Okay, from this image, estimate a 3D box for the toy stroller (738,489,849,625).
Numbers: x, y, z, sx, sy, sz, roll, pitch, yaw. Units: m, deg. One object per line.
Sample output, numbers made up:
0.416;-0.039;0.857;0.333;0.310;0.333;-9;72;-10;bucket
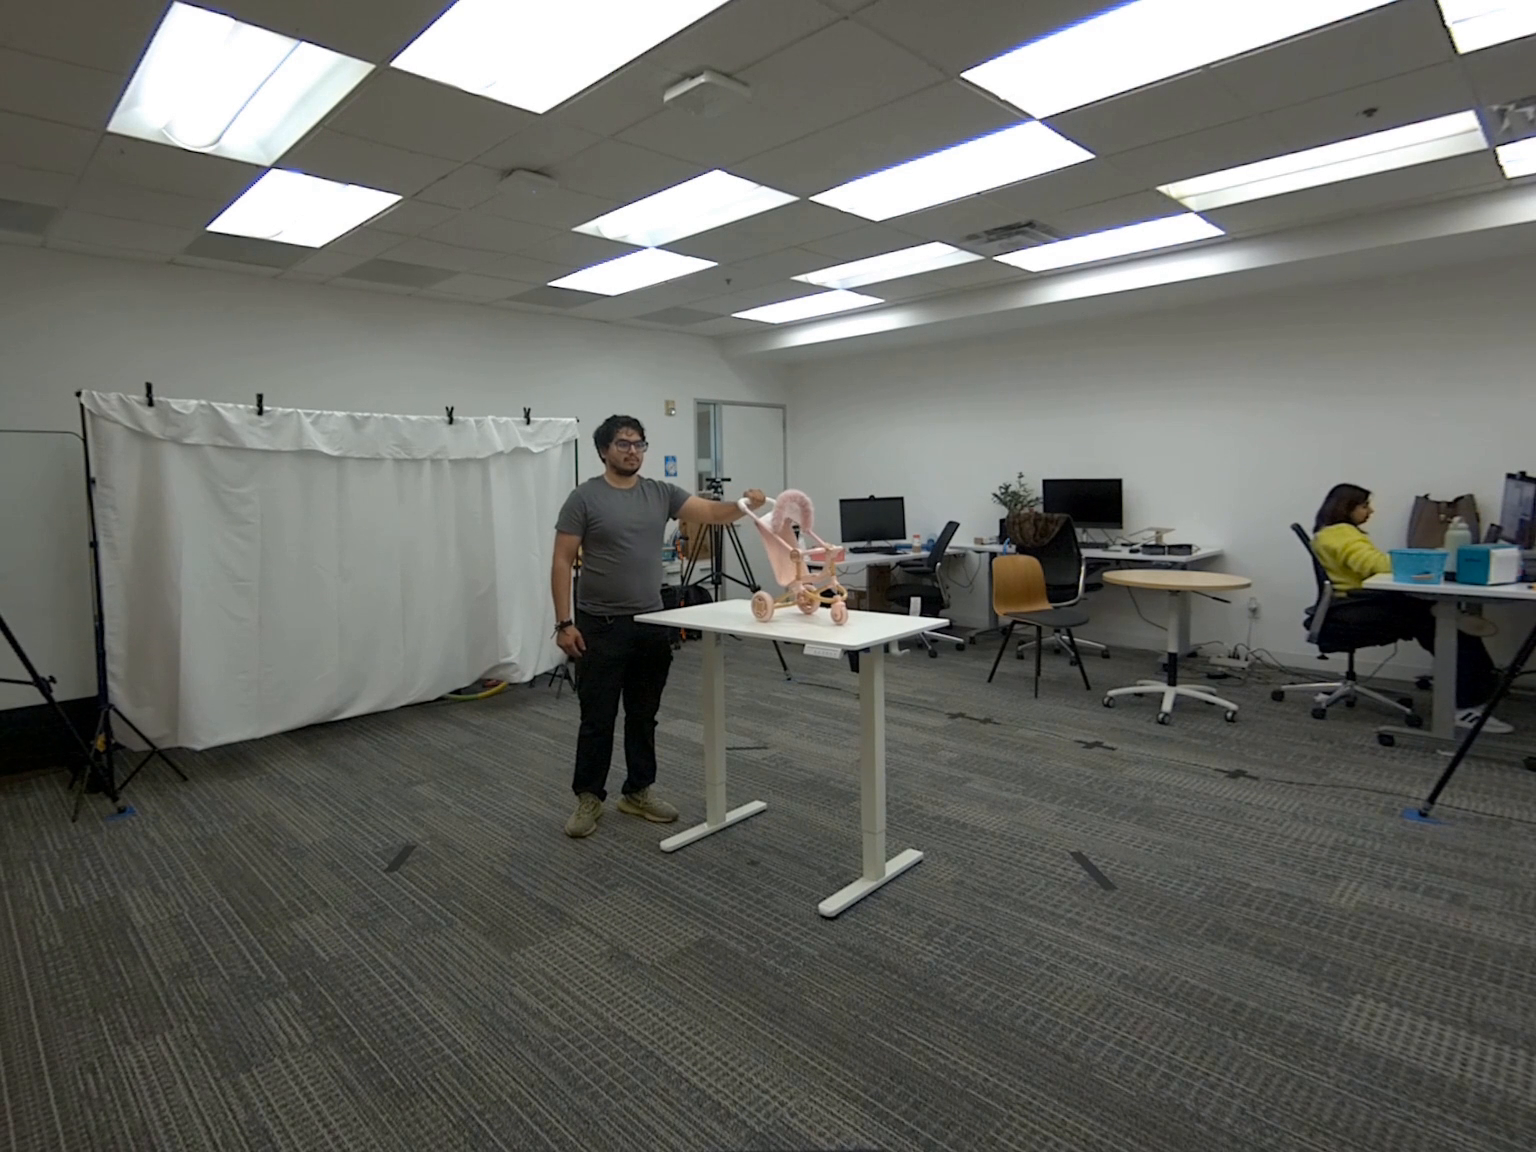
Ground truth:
0.106;-0.068;3.067;0.274;0.539;0.347;-5;-9;-40;toy stroller
